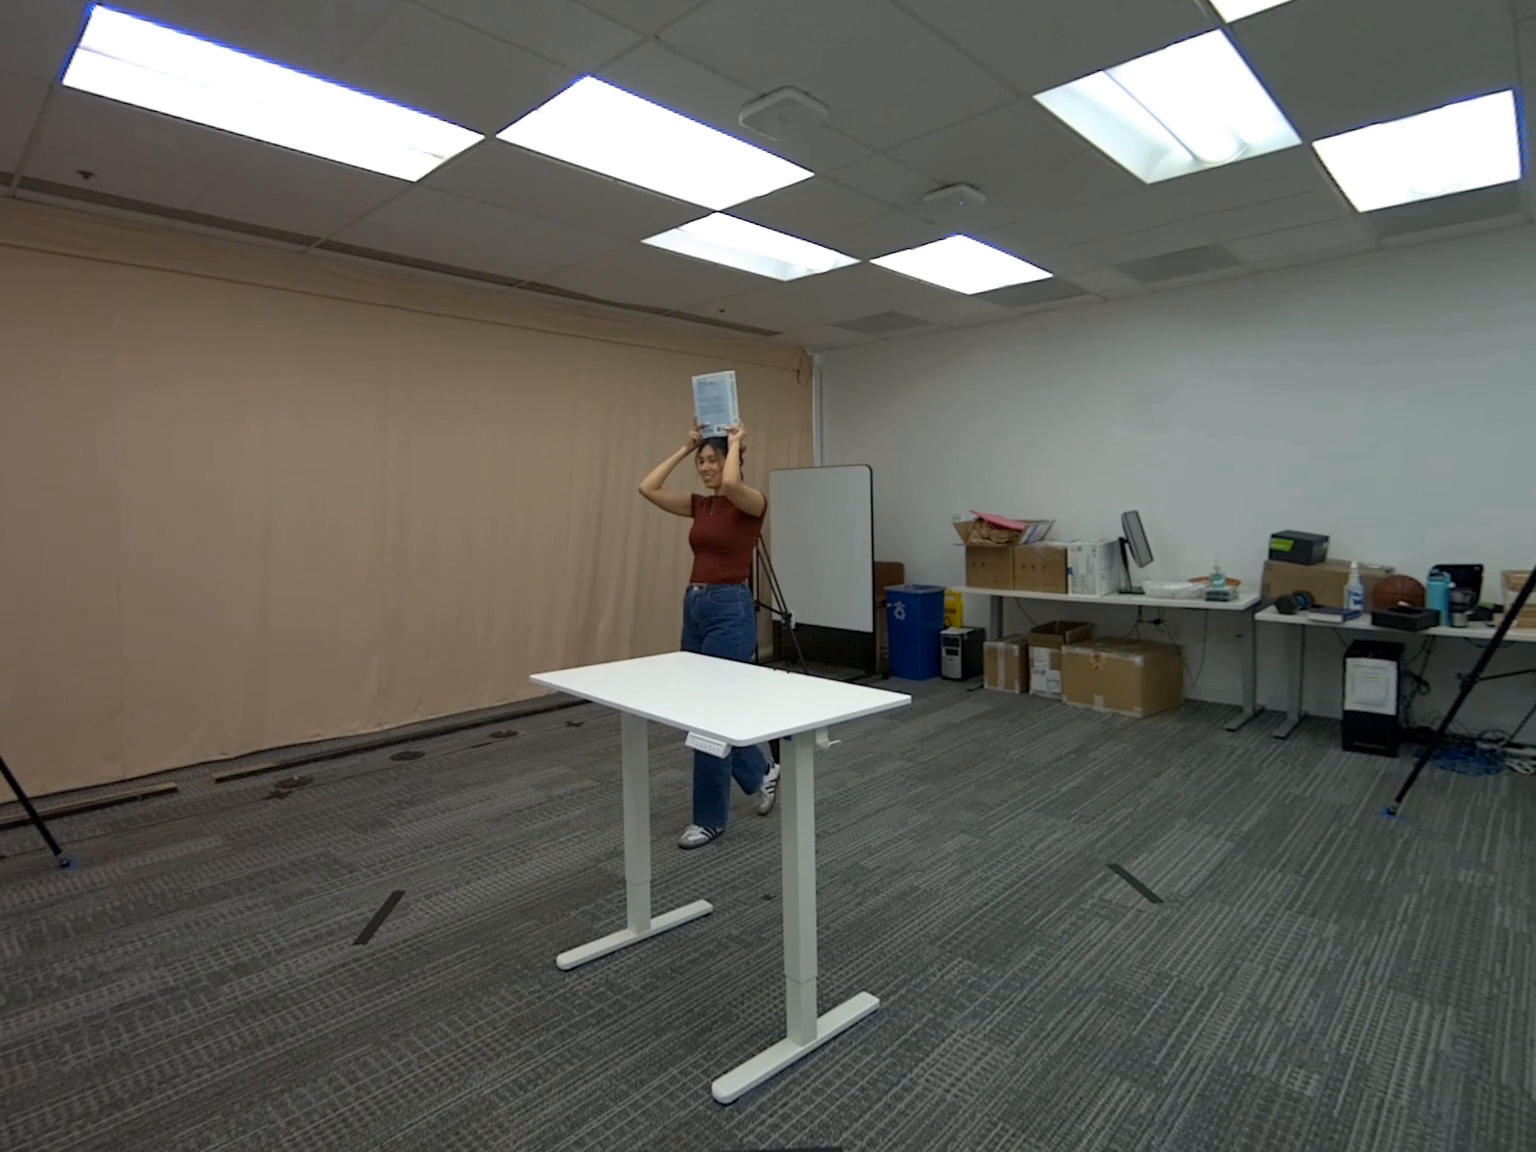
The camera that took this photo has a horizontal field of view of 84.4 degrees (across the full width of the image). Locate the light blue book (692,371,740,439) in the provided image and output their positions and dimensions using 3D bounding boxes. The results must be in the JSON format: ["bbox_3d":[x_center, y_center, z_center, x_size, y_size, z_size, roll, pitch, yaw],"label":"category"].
[{"bbox_3d":[-0.218,-0.719,3.546,0.197,0.259,0.057,1,11,35],"label":"light blue book"}]
